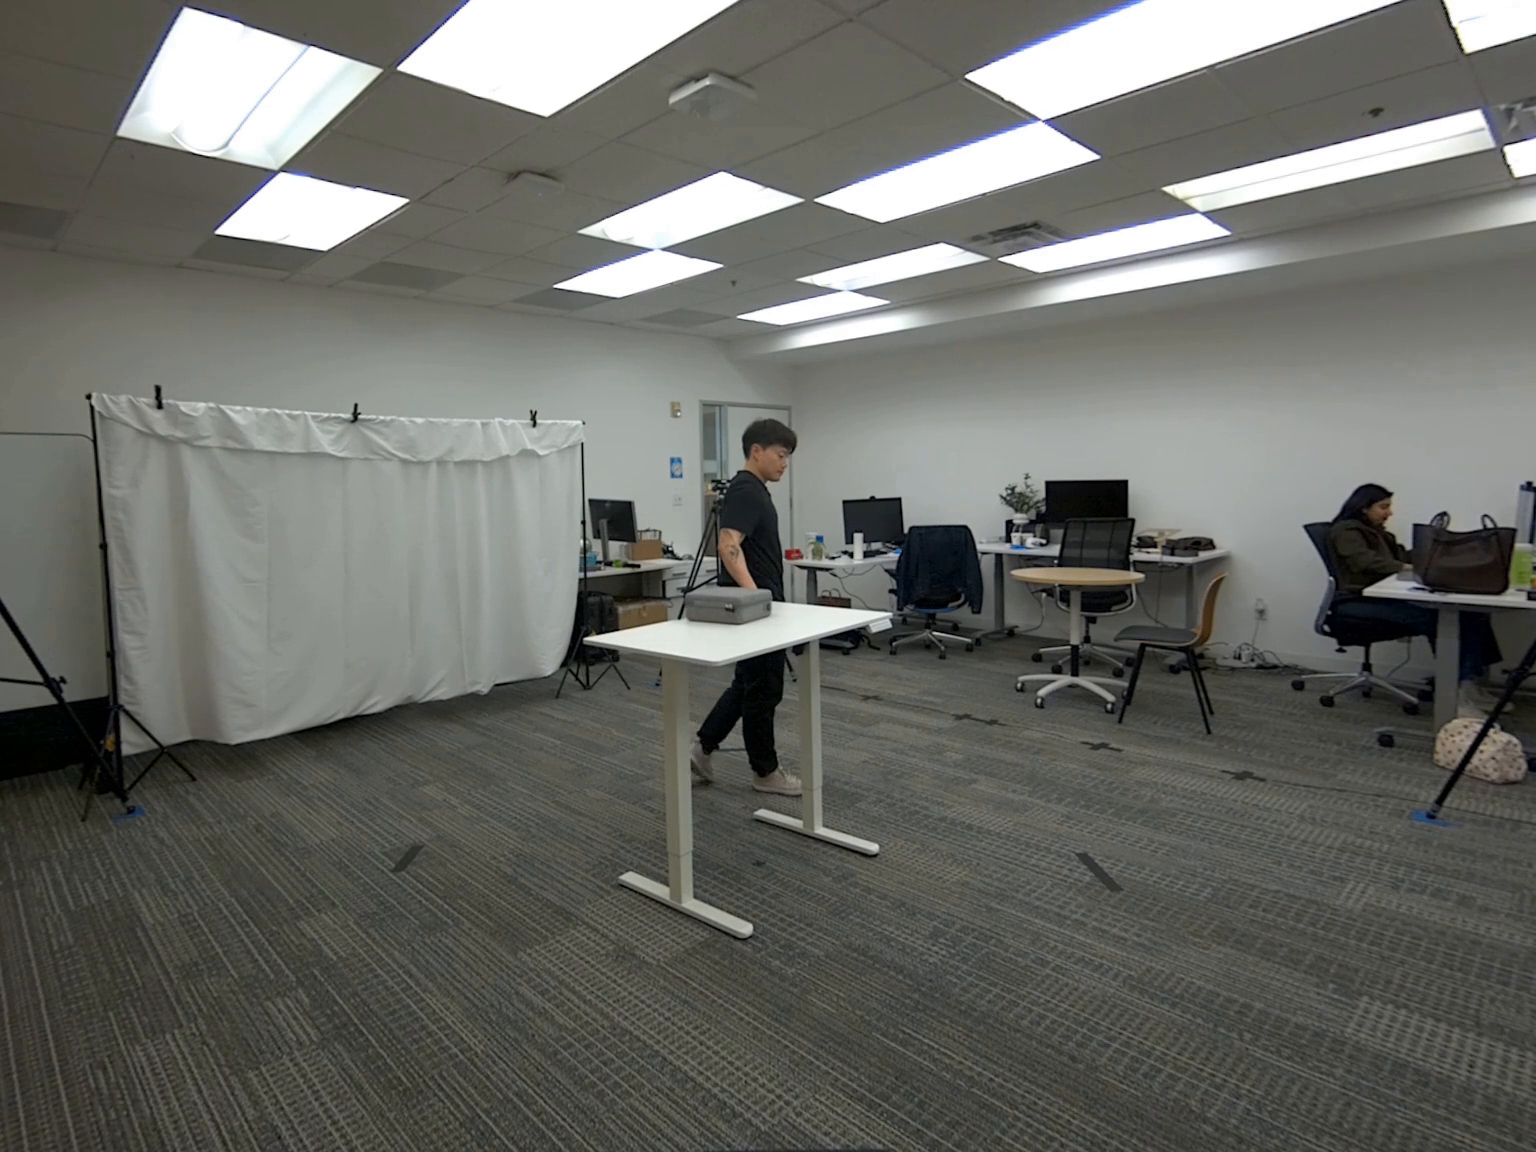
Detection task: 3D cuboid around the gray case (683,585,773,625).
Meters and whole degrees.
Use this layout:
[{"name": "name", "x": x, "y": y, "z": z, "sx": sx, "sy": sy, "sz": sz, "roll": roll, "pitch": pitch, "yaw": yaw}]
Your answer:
[{"name": "gray case", "x": -0.145, "y": 0.106, "z": 3.181, "sx": 0.264, "sy": 0.104, "sz": 0.255, "roll": 2, "pitch": 6, "yaw": 31}]
